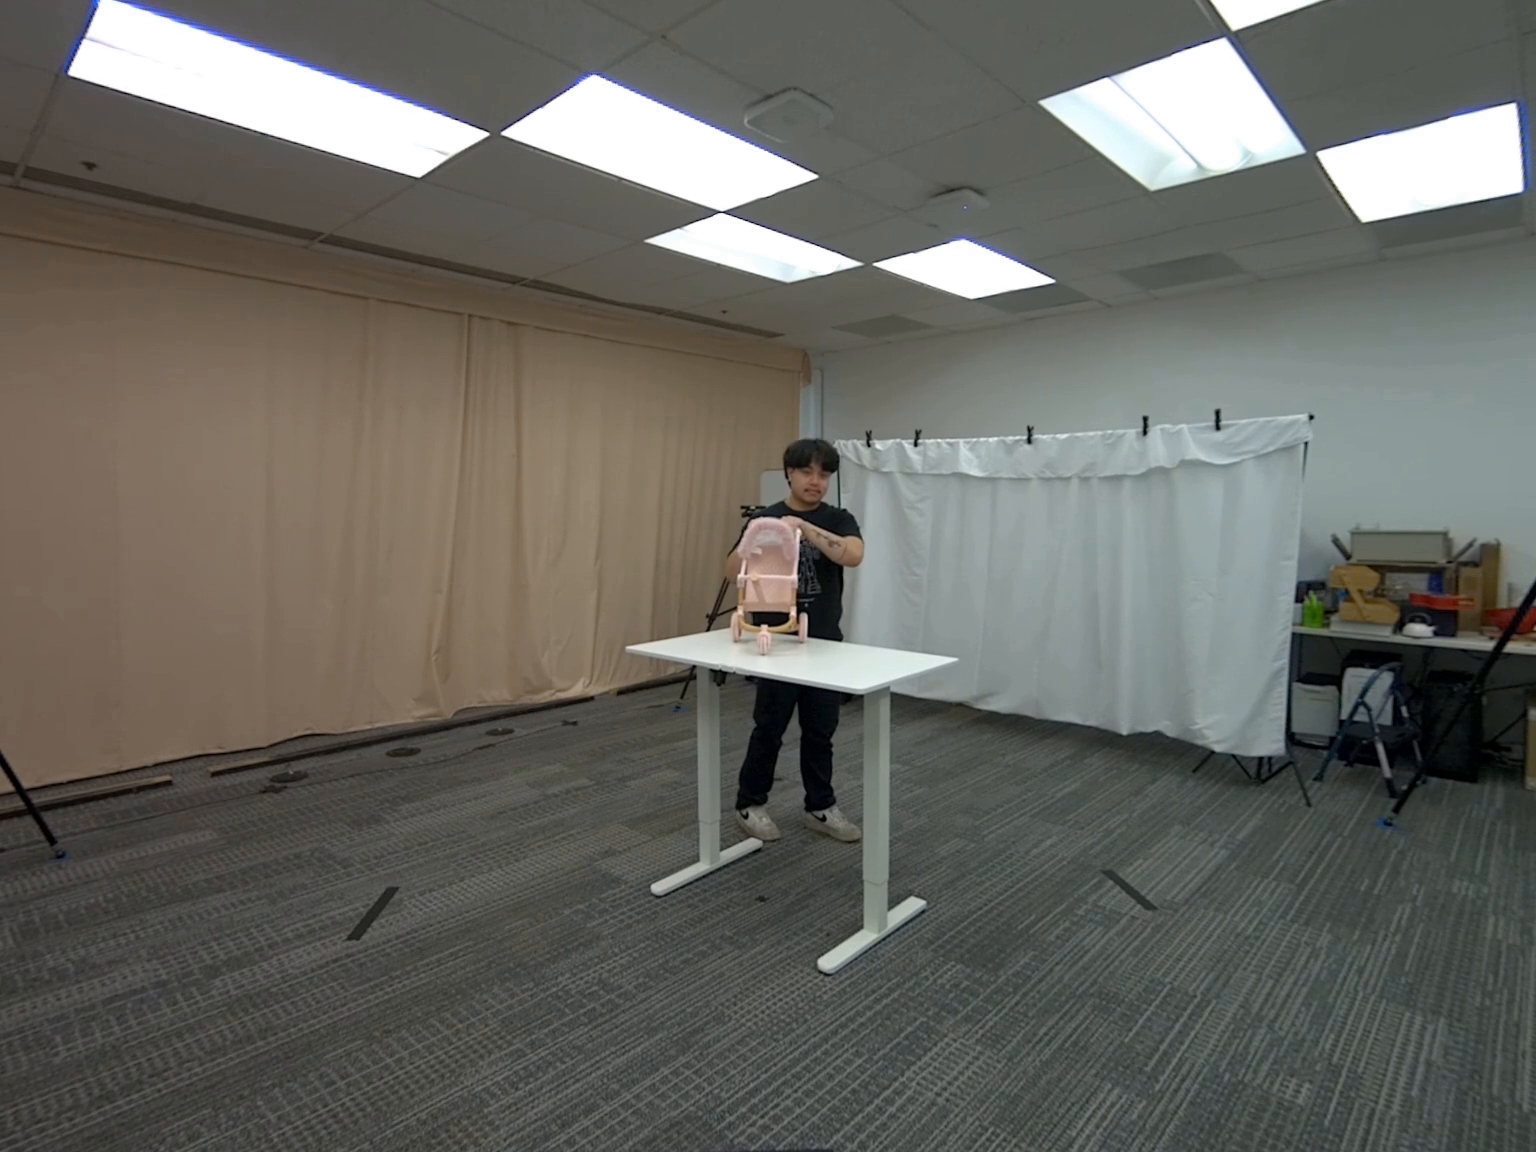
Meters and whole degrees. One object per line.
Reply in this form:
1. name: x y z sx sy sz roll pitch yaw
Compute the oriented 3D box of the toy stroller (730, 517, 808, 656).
1. toy stroller: -0.003 0.030 3.053 0.285 0.538 0.335 0 -11 10
